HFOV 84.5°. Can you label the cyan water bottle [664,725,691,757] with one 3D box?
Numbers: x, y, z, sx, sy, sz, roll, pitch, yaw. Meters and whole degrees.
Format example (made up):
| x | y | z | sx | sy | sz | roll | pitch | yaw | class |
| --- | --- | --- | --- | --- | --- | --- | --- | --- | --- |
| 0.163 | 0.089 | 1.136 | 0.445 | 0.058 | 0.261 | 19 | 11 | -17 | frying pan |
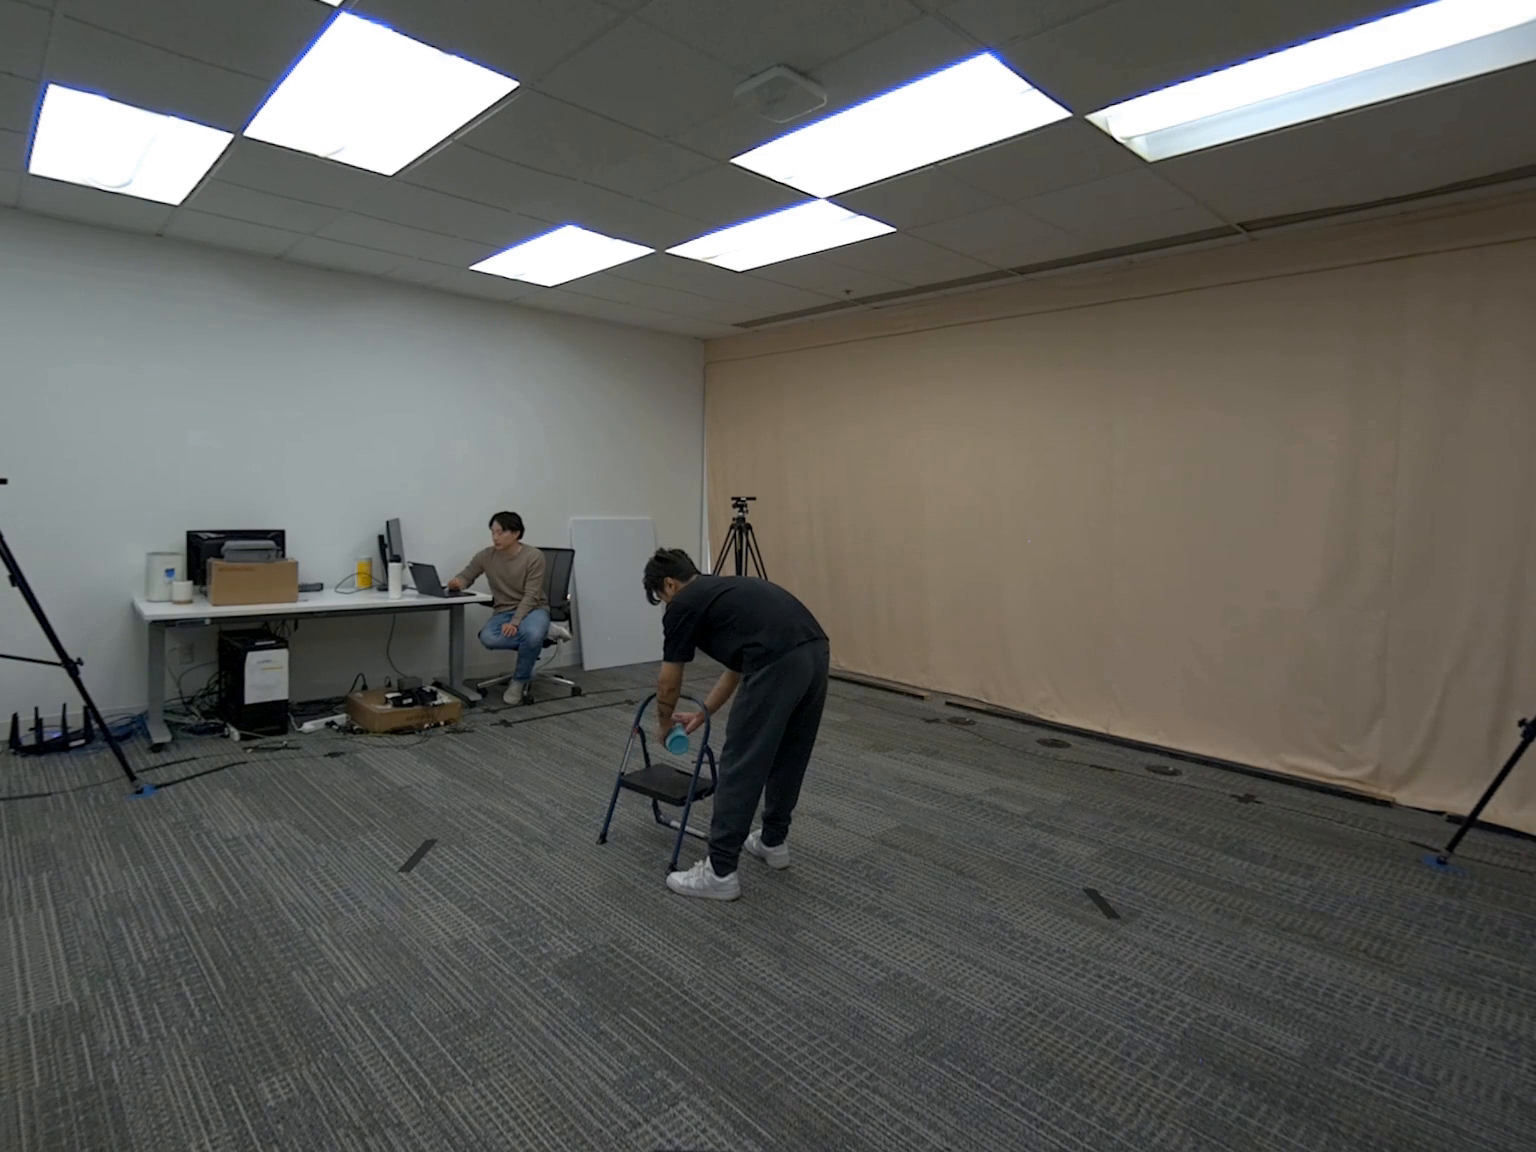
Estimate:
| x | y | z | sx | sy | sz | roll | pitch | yaw | class |
| --- | --- | --- | --- | --- | --- | --- | --- | --- | --- |
| -0.381 | 0.627 | 3.399 | 0.091 | 0.091 | 0.289 | 0 | 13 | -14 | cyan water bottle |
